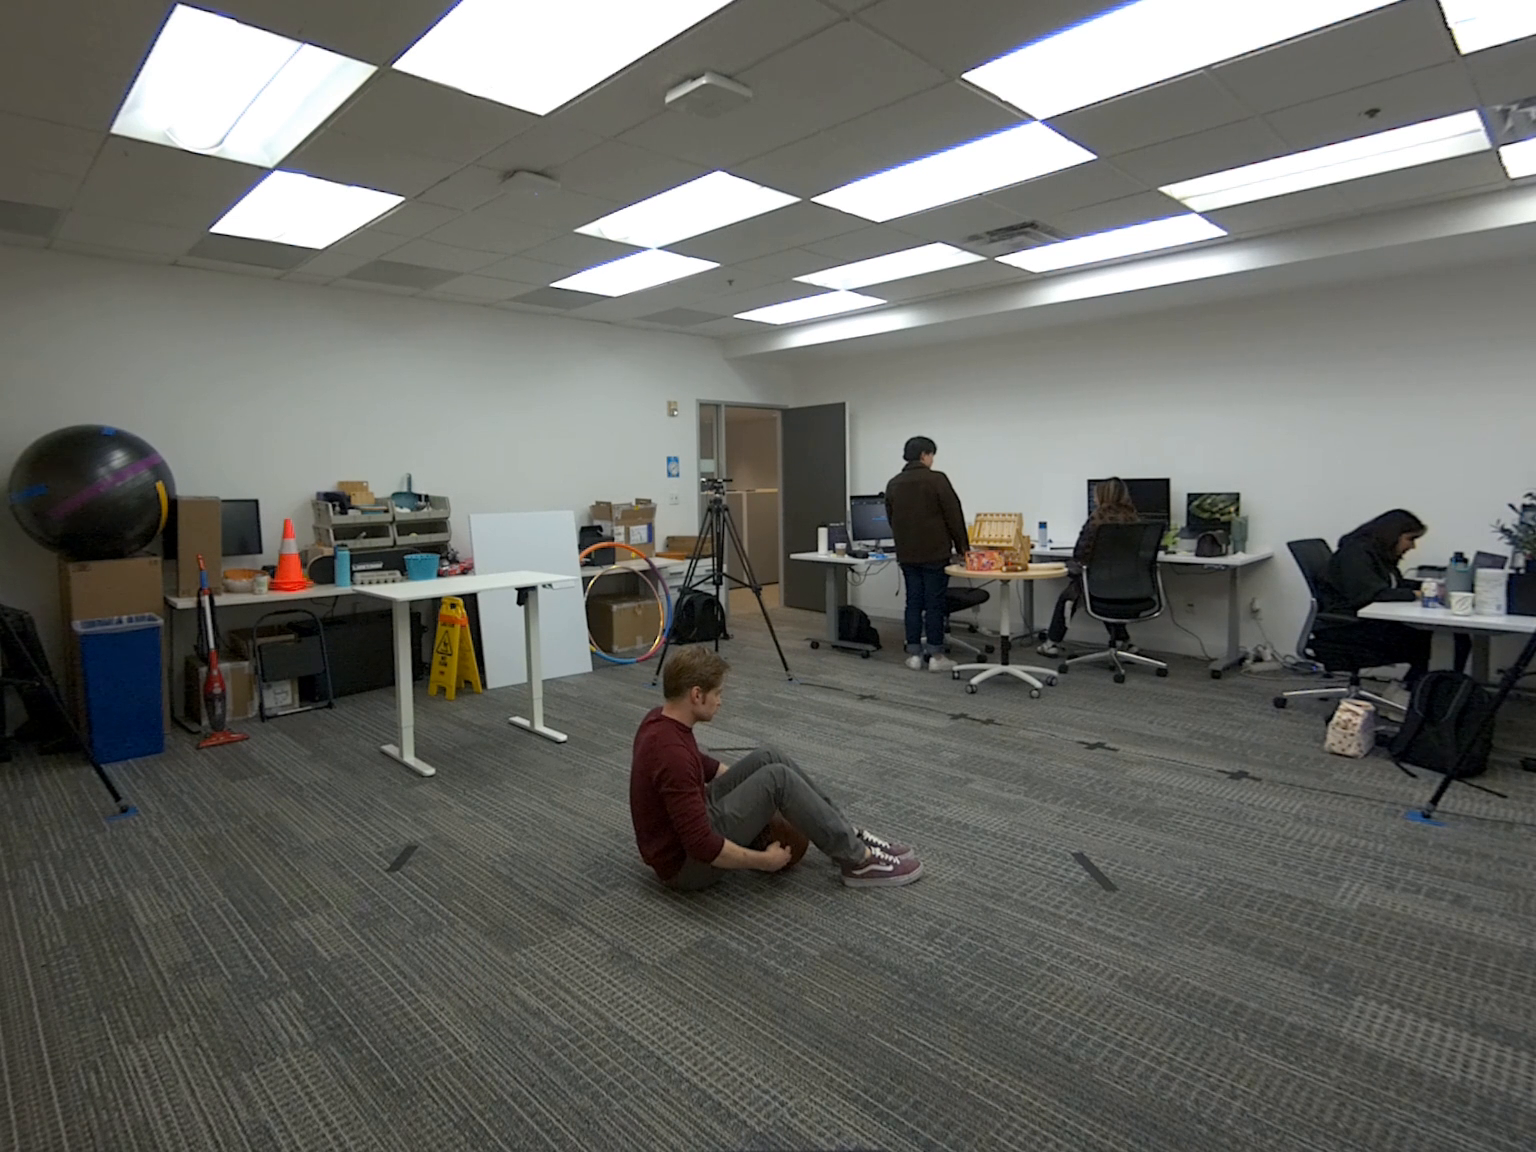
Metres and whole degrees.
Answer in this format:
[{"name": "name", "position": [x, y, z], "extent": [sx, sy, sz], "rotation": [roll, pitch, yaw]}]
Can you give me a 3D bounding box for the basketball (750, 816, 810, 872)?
[{"name": "basketball", "position": [0.032, 0.934, 3.067], "extent": [0.236, 0.235, 0.237], "rotation": [-1, 5, -2]}]
